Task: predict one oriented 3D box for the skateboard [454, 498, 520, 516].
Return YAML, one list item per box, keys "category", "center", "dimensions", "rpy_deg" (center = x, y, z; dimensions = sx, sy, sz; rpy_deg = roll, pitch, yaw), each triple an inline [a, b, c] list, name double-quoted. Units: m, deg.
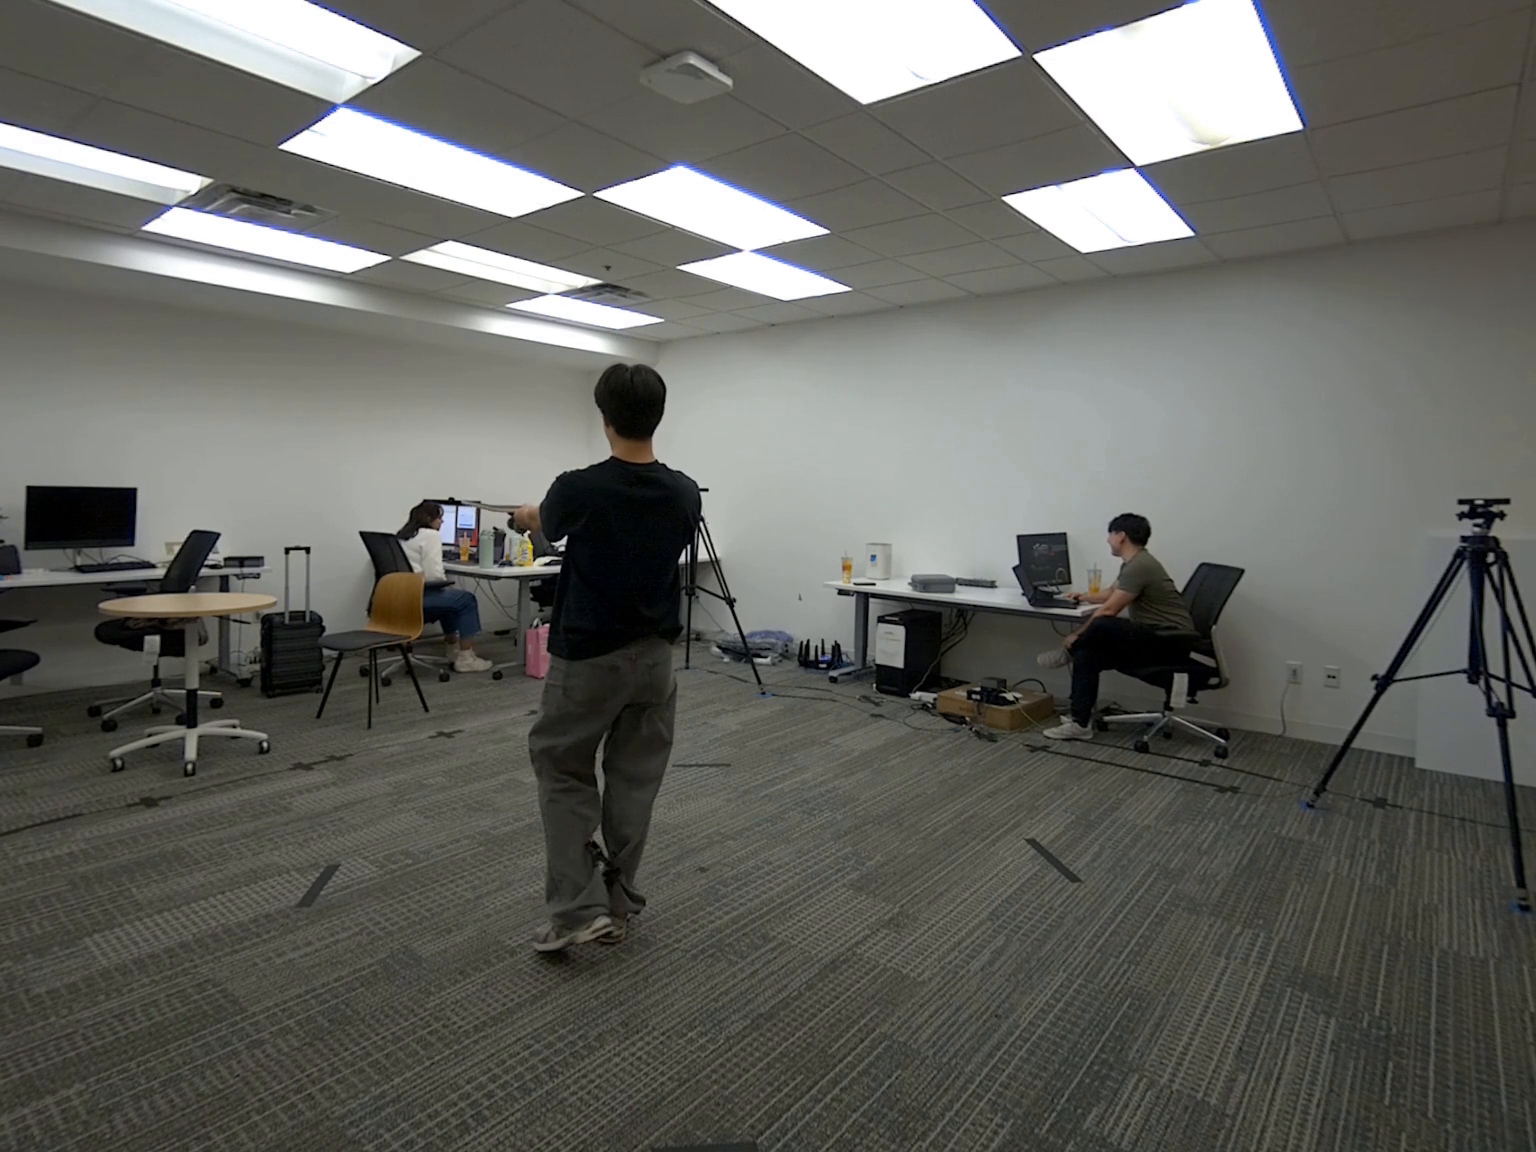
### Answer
- category: "skateboard"
  center: [-0.724, -0.217, 3.144]
  dimensions: [0.767, 0.110, 0.199]
  rpy_deg: [0, 7, -24]
